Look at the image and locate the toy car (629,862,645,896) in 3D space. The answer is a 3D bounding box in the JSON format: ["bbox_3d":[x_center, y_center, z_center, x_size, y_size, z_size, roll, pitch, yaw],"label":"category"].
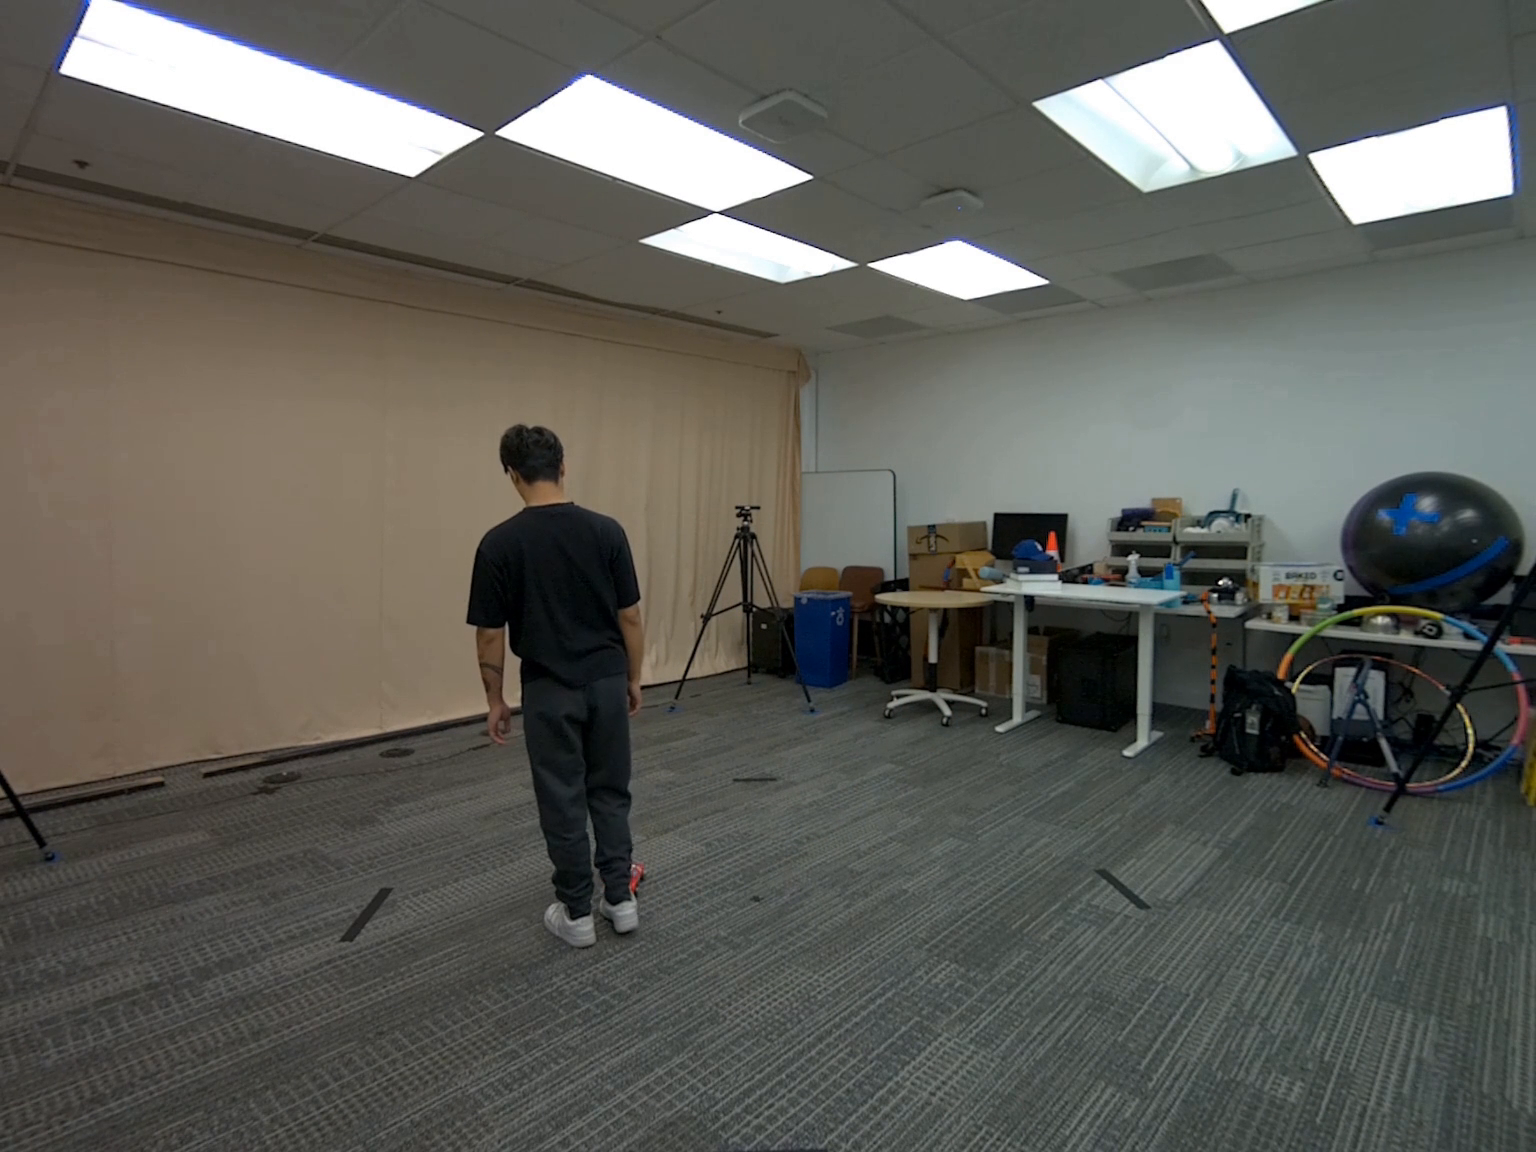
[{"bbox_3d":[-0.524,1.111,3.057,0.131,0.083,0.252,2,-6,4],"label":"toy car"}]
